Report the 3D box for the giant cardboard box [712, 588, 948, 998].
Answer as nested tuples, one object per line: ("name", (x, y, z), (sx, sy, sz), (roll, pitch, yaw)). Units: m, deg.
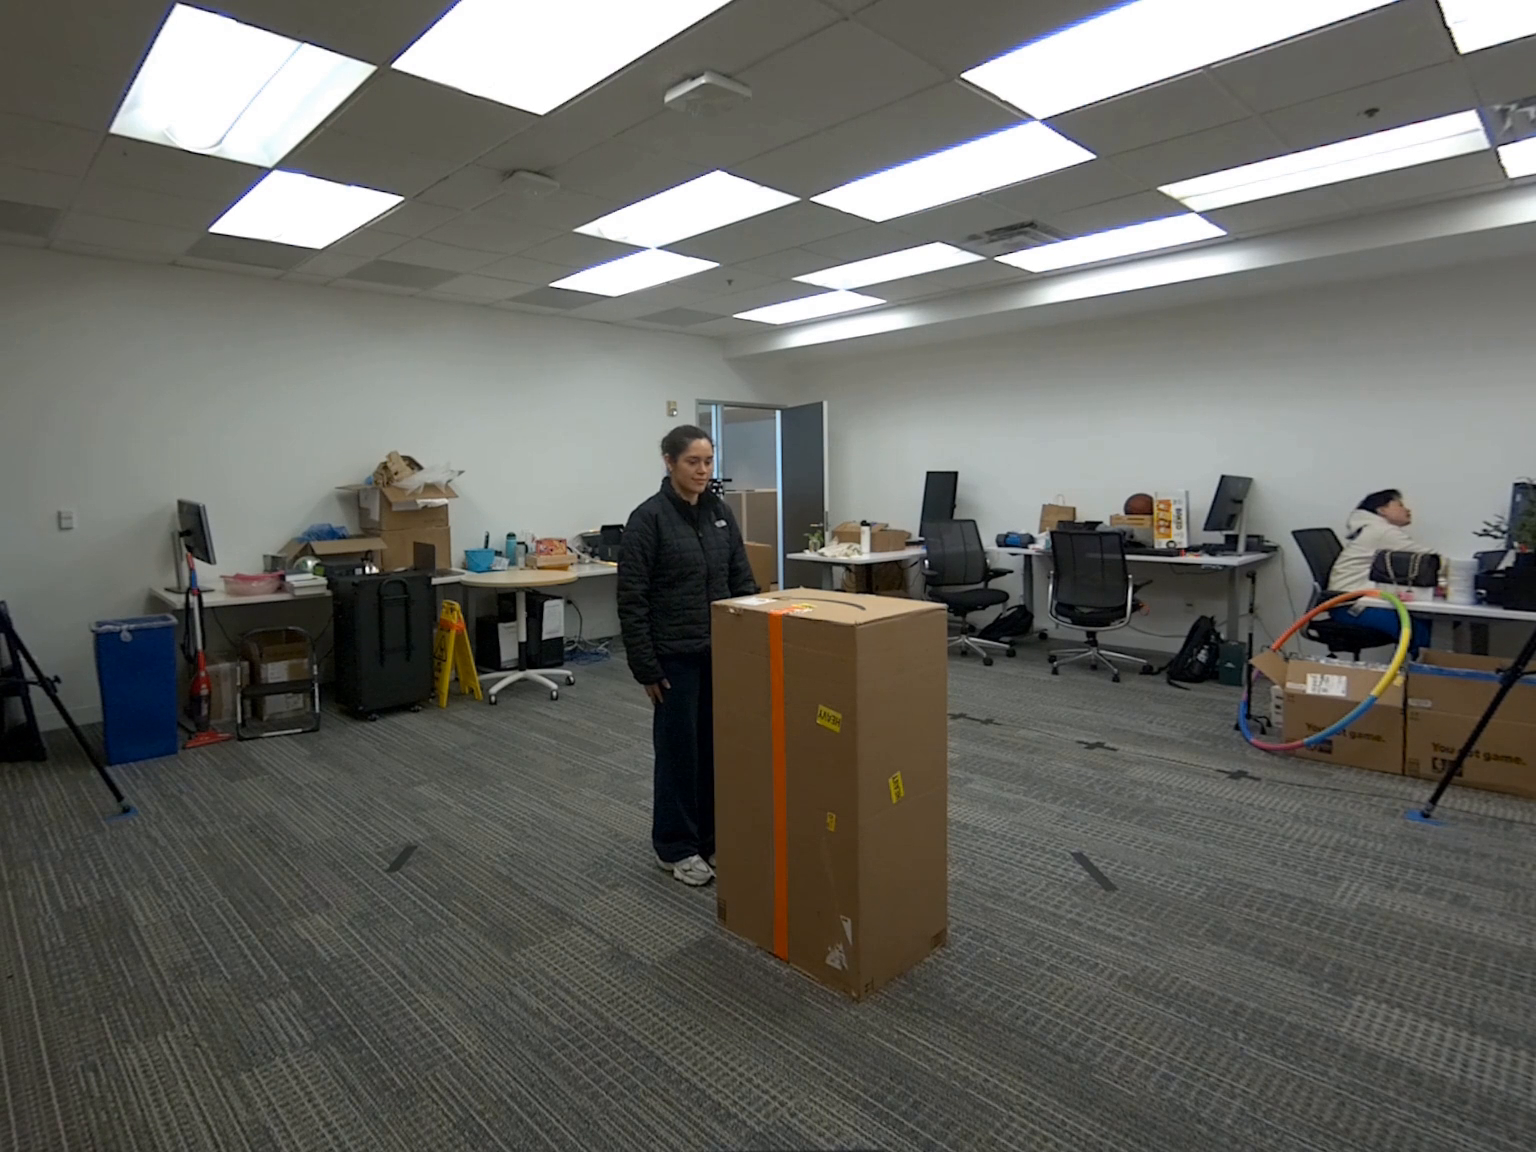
("giant cardboard box", (0.184, 0.590, 2.596), (0.415, 1.022, 0.595), (-5, 6, -44))
